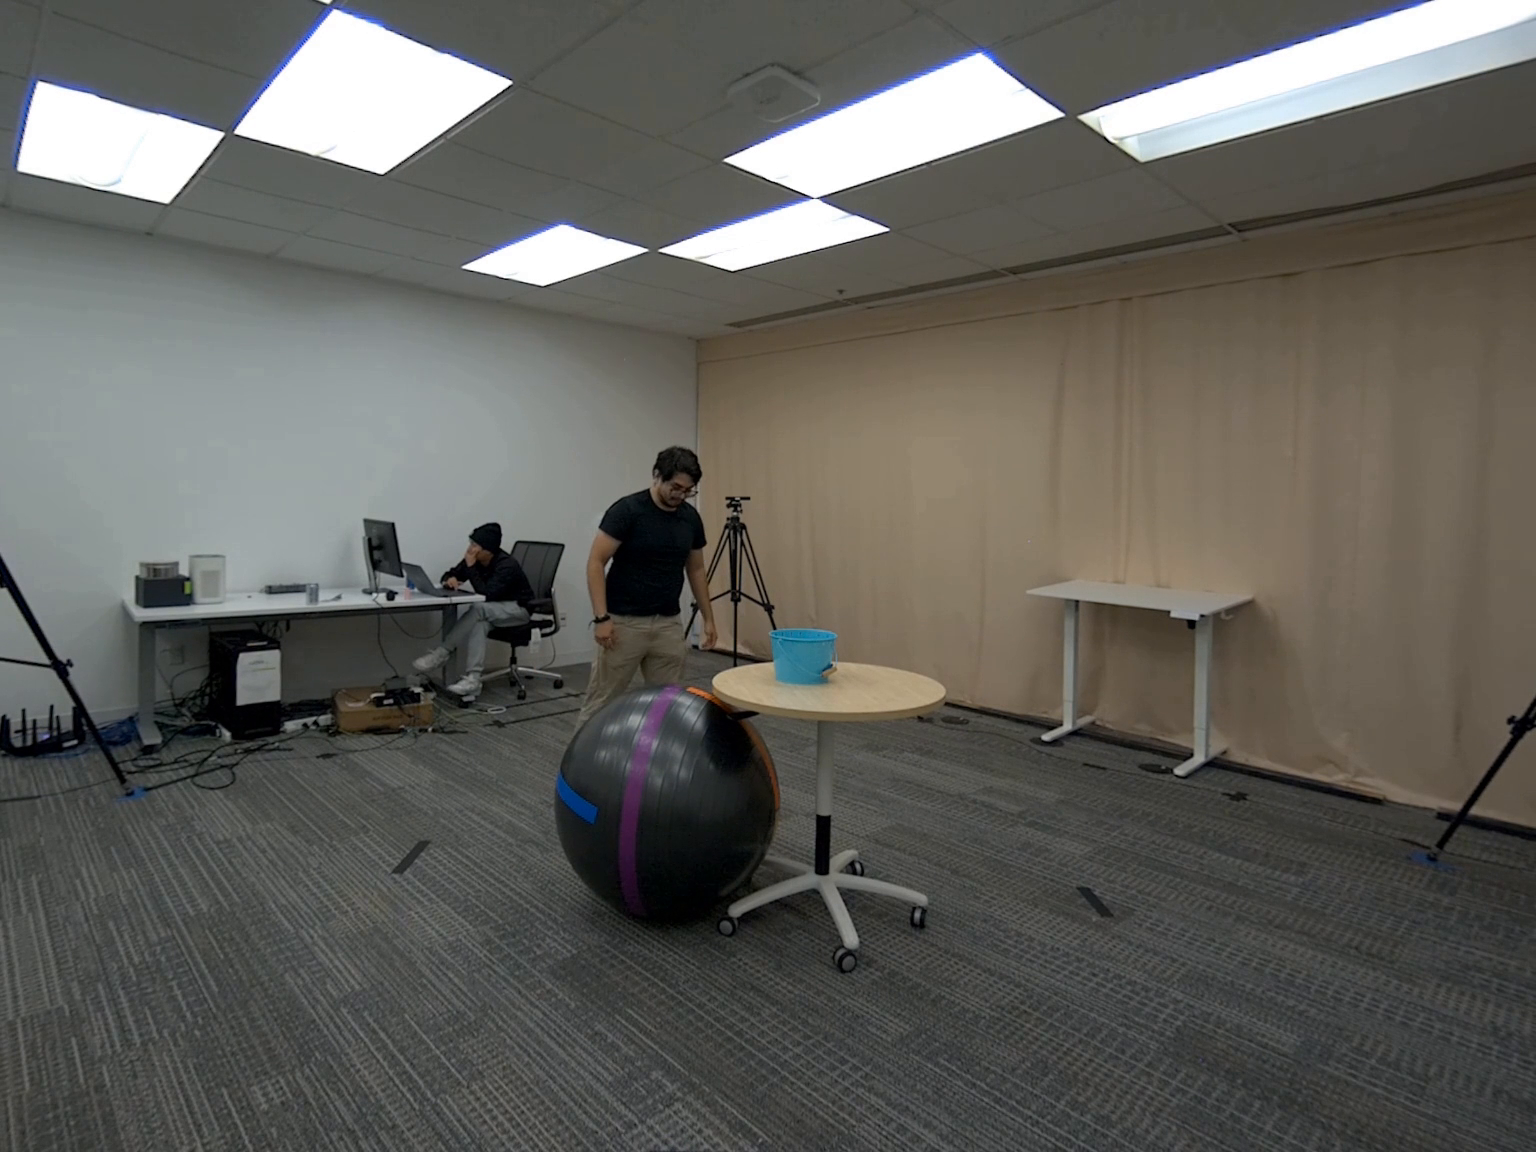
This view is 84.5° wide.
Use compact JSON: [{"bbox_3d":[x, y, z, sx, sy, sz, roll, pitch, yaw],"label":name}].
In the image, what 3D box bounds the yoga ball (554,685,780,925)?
[{"bbox_3d":[-0.355,0.758,2.863,0.757,0.756,0.761,1,4,-1],"label":"yoga ball"}]
